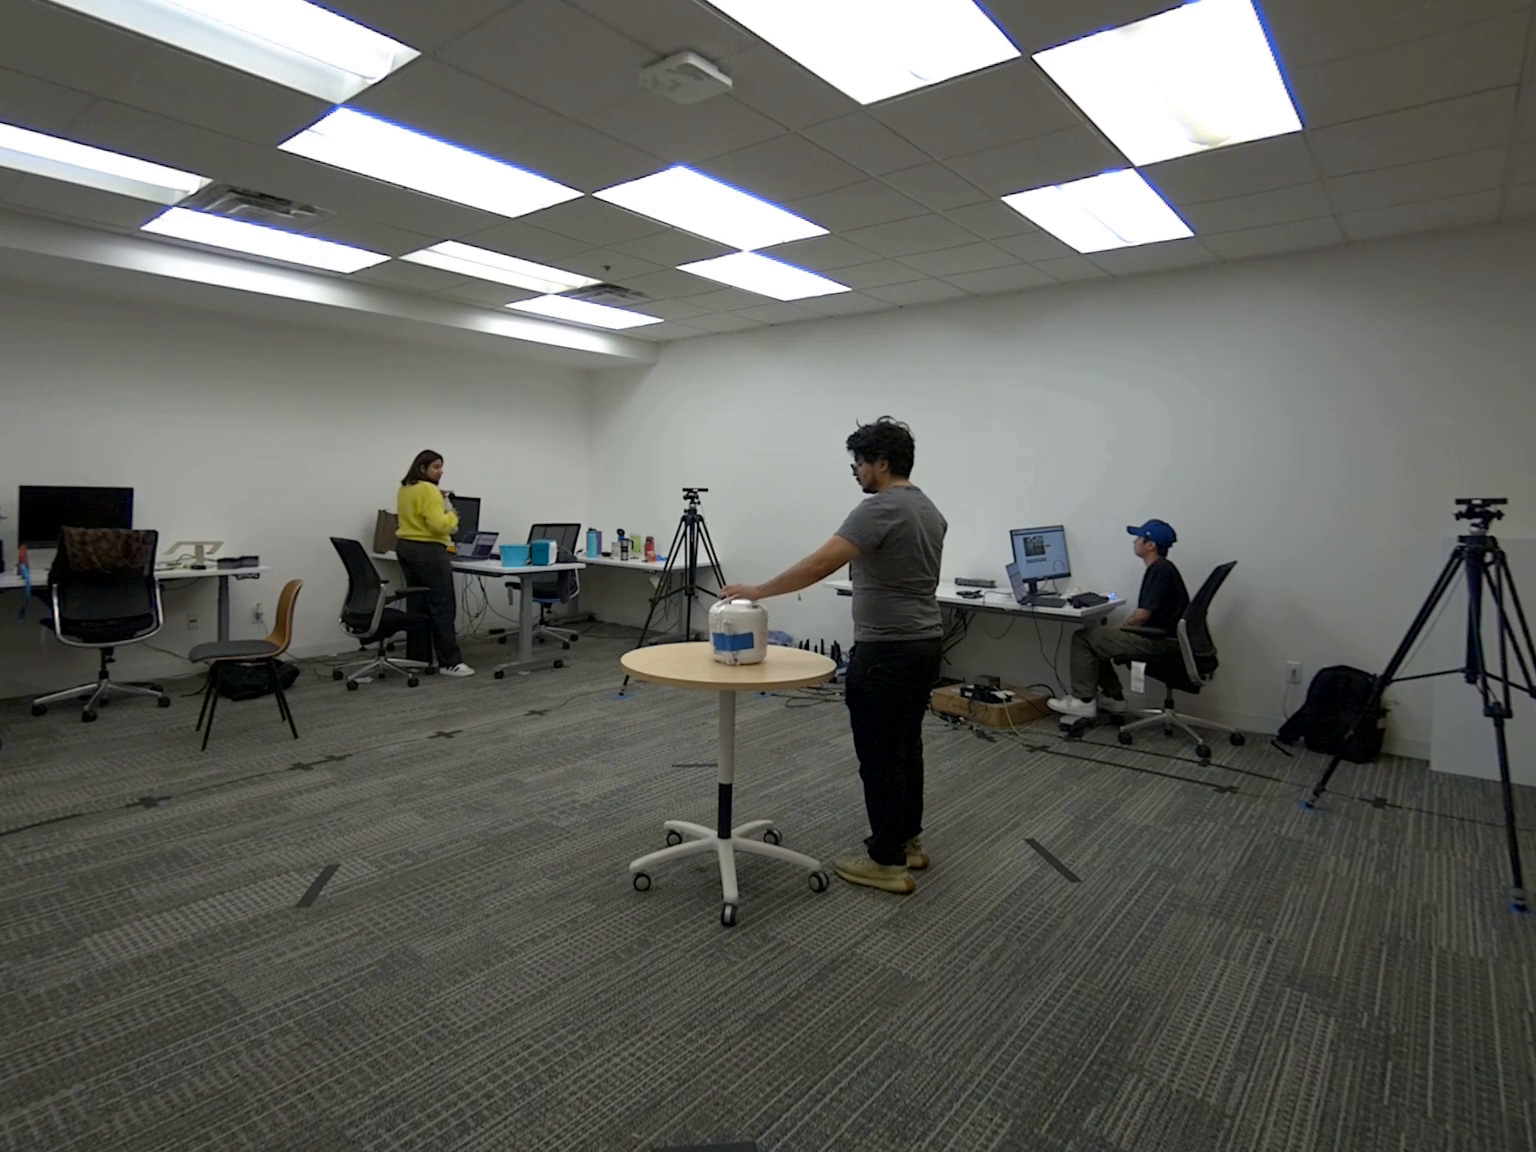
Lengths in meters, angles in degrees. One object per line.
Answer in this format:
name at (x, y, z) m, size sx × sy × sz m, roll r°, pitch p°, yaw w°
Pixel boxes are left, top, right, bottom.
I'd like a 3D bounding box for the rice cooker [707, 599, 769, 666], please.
rice cooker at (-0.117, 0.184, 3.027) m, size 0.214 × 0.232 × 0.224 m, roll 0°, pitch 4°, yaw -32°
